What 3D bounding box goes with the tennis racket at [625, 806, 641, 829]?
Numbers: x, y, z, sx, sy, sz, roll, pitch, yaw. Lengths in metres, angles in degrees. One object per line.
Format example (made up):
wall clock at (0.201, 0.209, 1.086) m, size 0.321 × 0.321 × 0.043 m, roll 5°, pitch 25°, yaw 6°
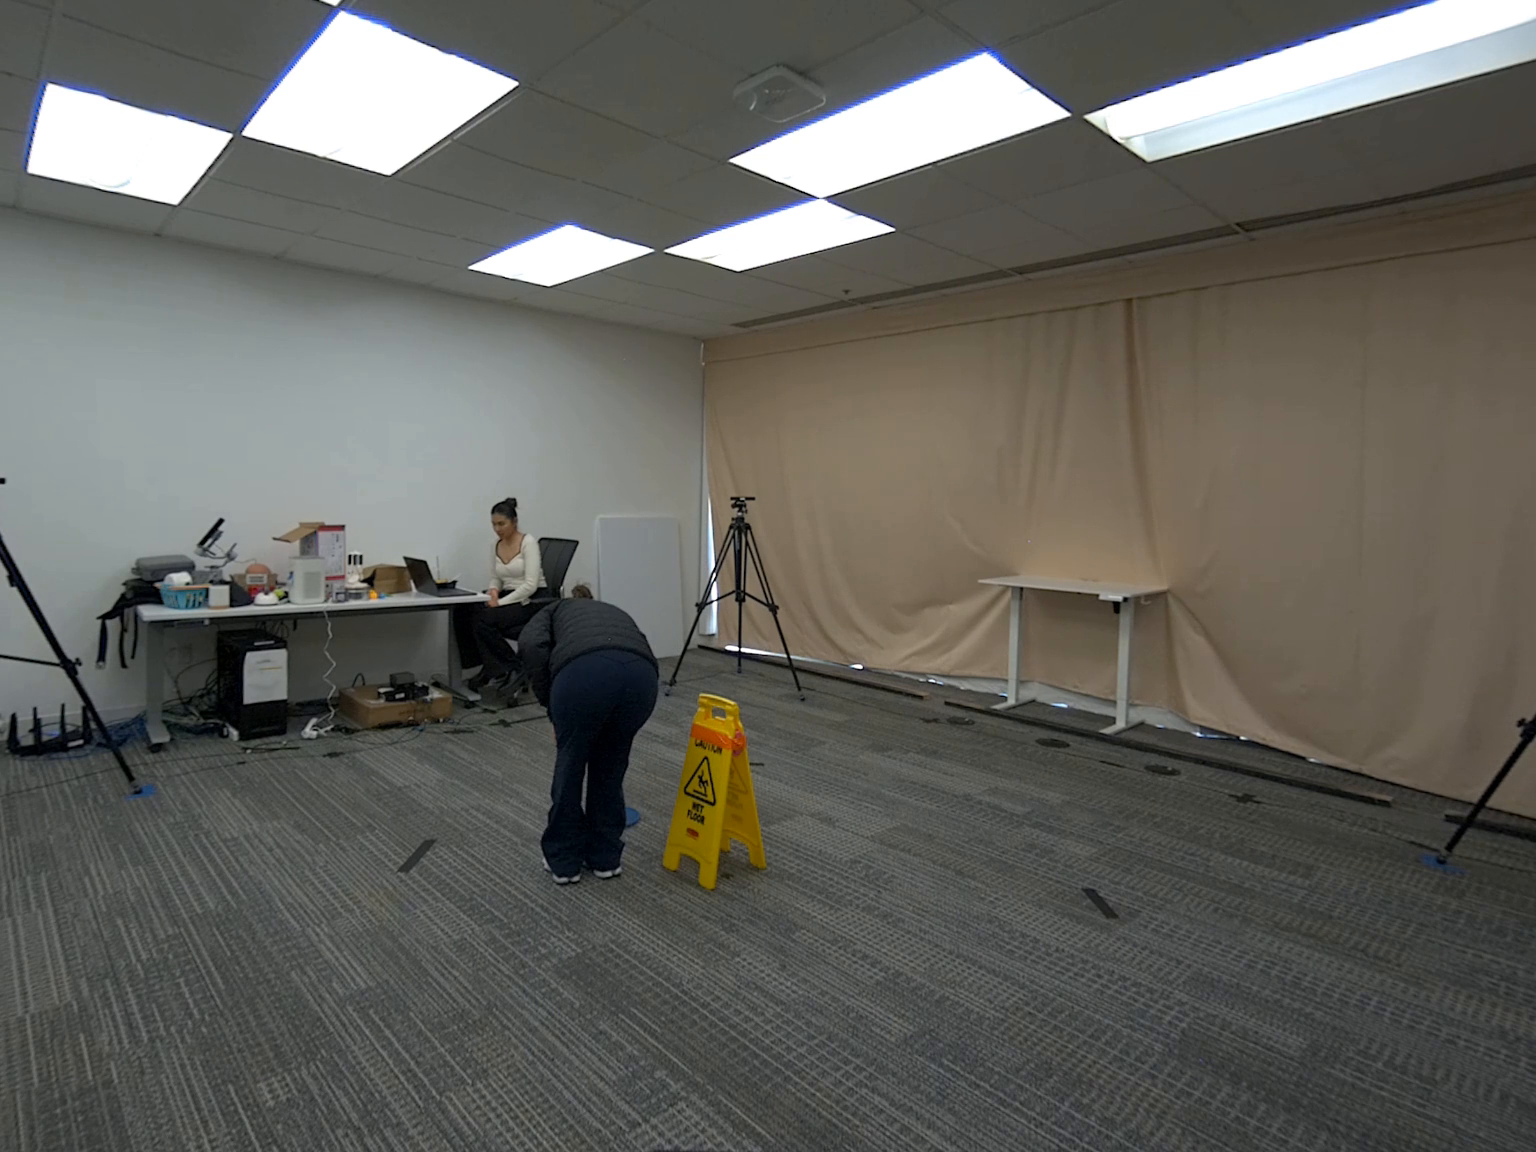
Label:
tennis racket at (-0.653, 1.045, 3.527) m, size 0.213 × 0.032 × 0.434 m, roll 2°, pitch 3°, yaw -4°
